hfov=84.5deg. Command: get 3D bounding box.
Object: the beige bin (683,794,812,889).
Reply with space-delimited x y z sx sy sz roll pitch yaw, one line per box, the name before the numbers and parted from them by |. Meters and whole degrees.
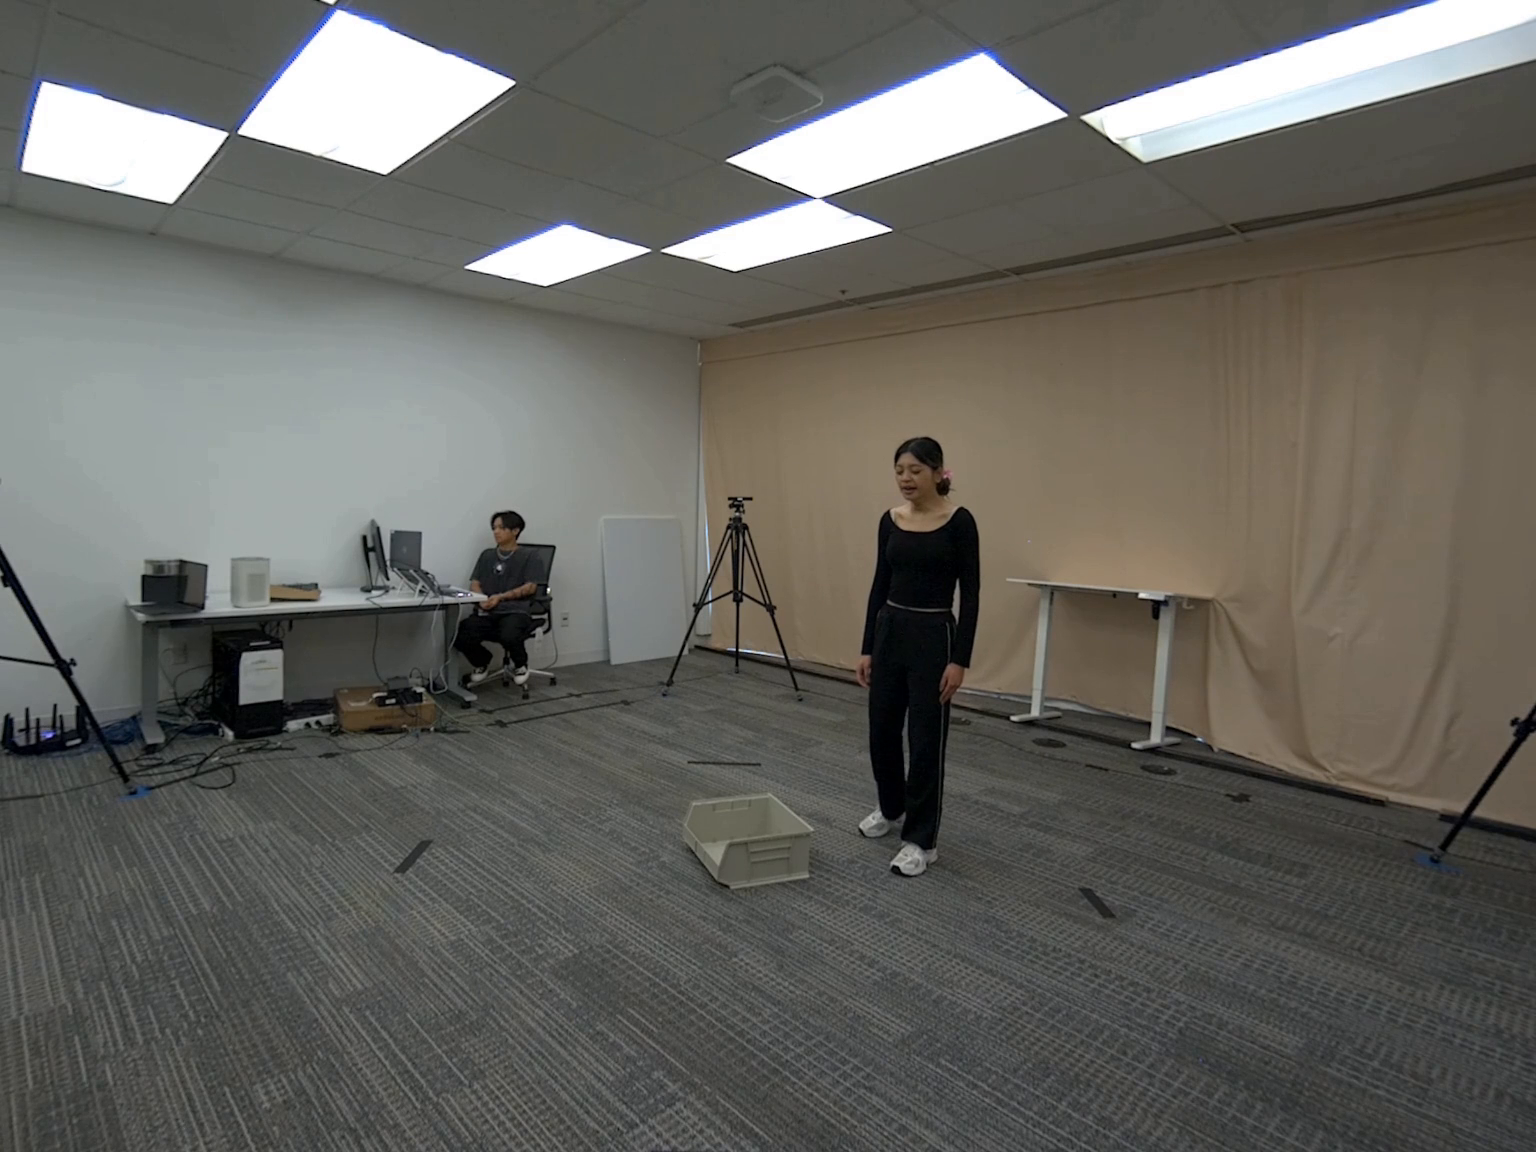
beige bin | -0.092 1.010 3.226 0.371 0.188 0.430 0 4 -22
